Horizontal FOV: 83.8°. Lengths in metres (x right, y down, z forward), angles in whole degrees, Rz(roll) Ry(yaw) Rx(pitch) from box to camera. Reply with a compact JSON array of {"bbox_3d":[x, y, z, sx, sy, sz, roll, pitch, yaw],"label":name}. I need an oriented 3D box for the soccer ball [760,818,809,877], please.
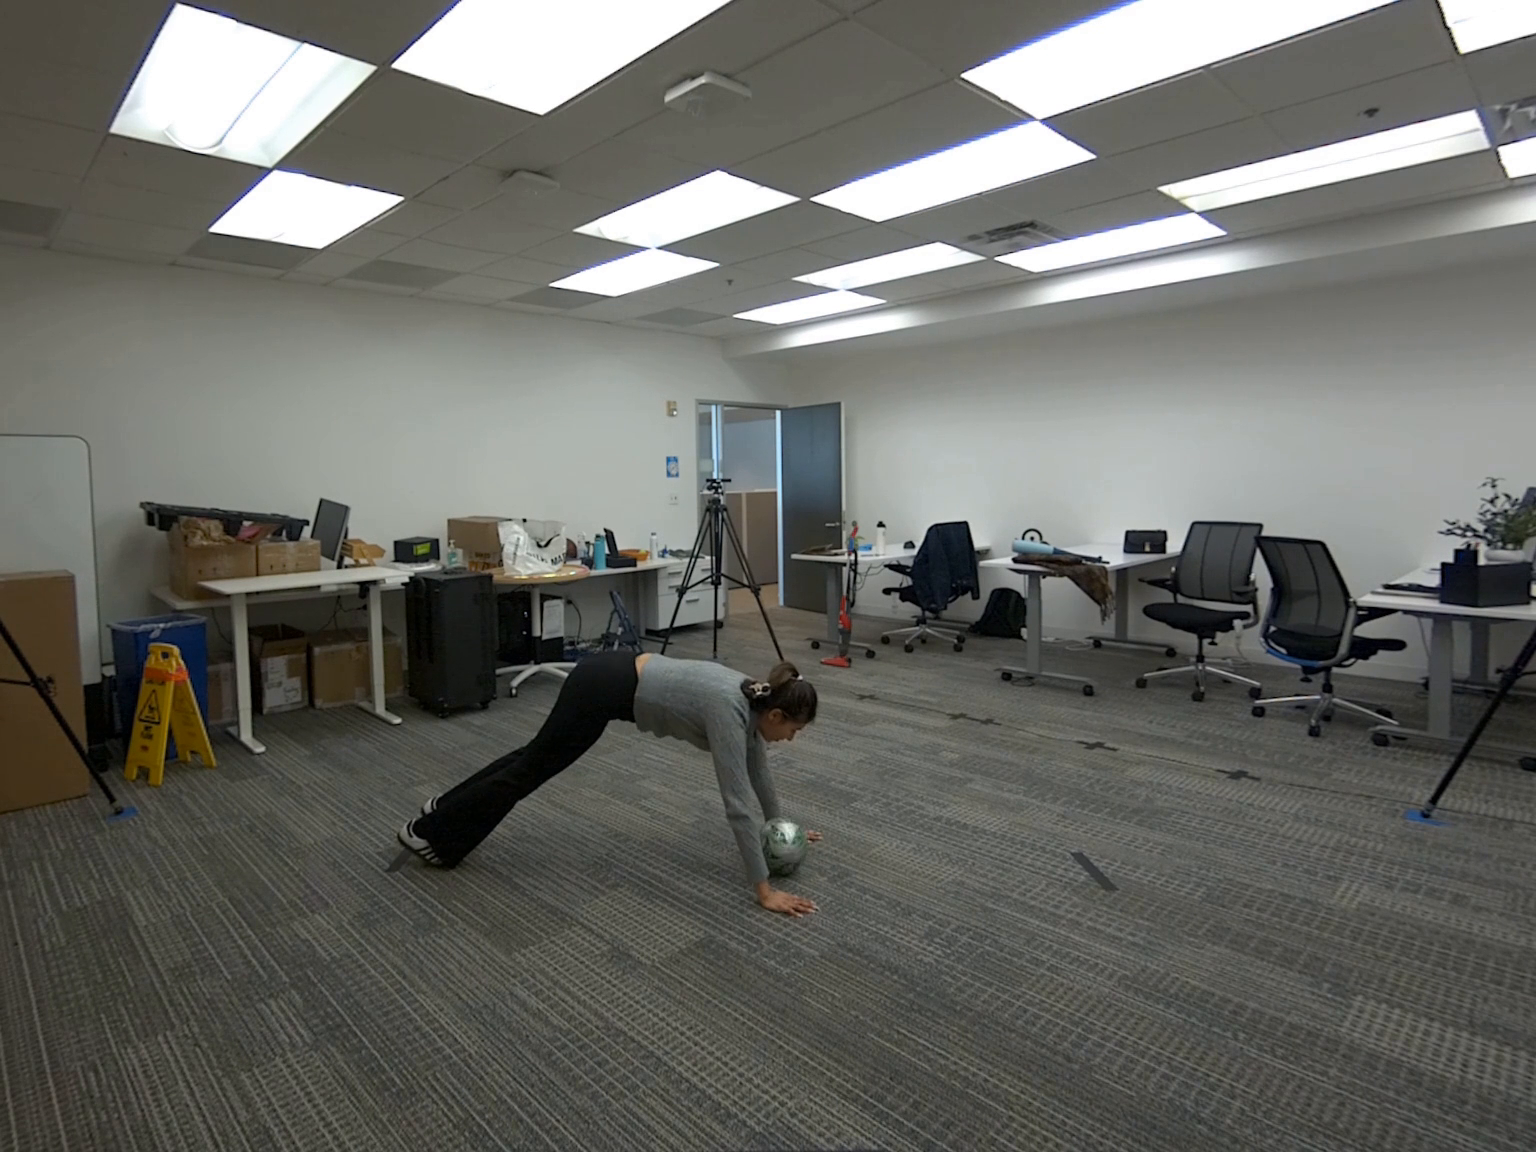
[{"bbox_3d":[0.041,0.952,3.028,0.187,0.187,0.188,-1,5,-2],"label":"soccer ball"}]
